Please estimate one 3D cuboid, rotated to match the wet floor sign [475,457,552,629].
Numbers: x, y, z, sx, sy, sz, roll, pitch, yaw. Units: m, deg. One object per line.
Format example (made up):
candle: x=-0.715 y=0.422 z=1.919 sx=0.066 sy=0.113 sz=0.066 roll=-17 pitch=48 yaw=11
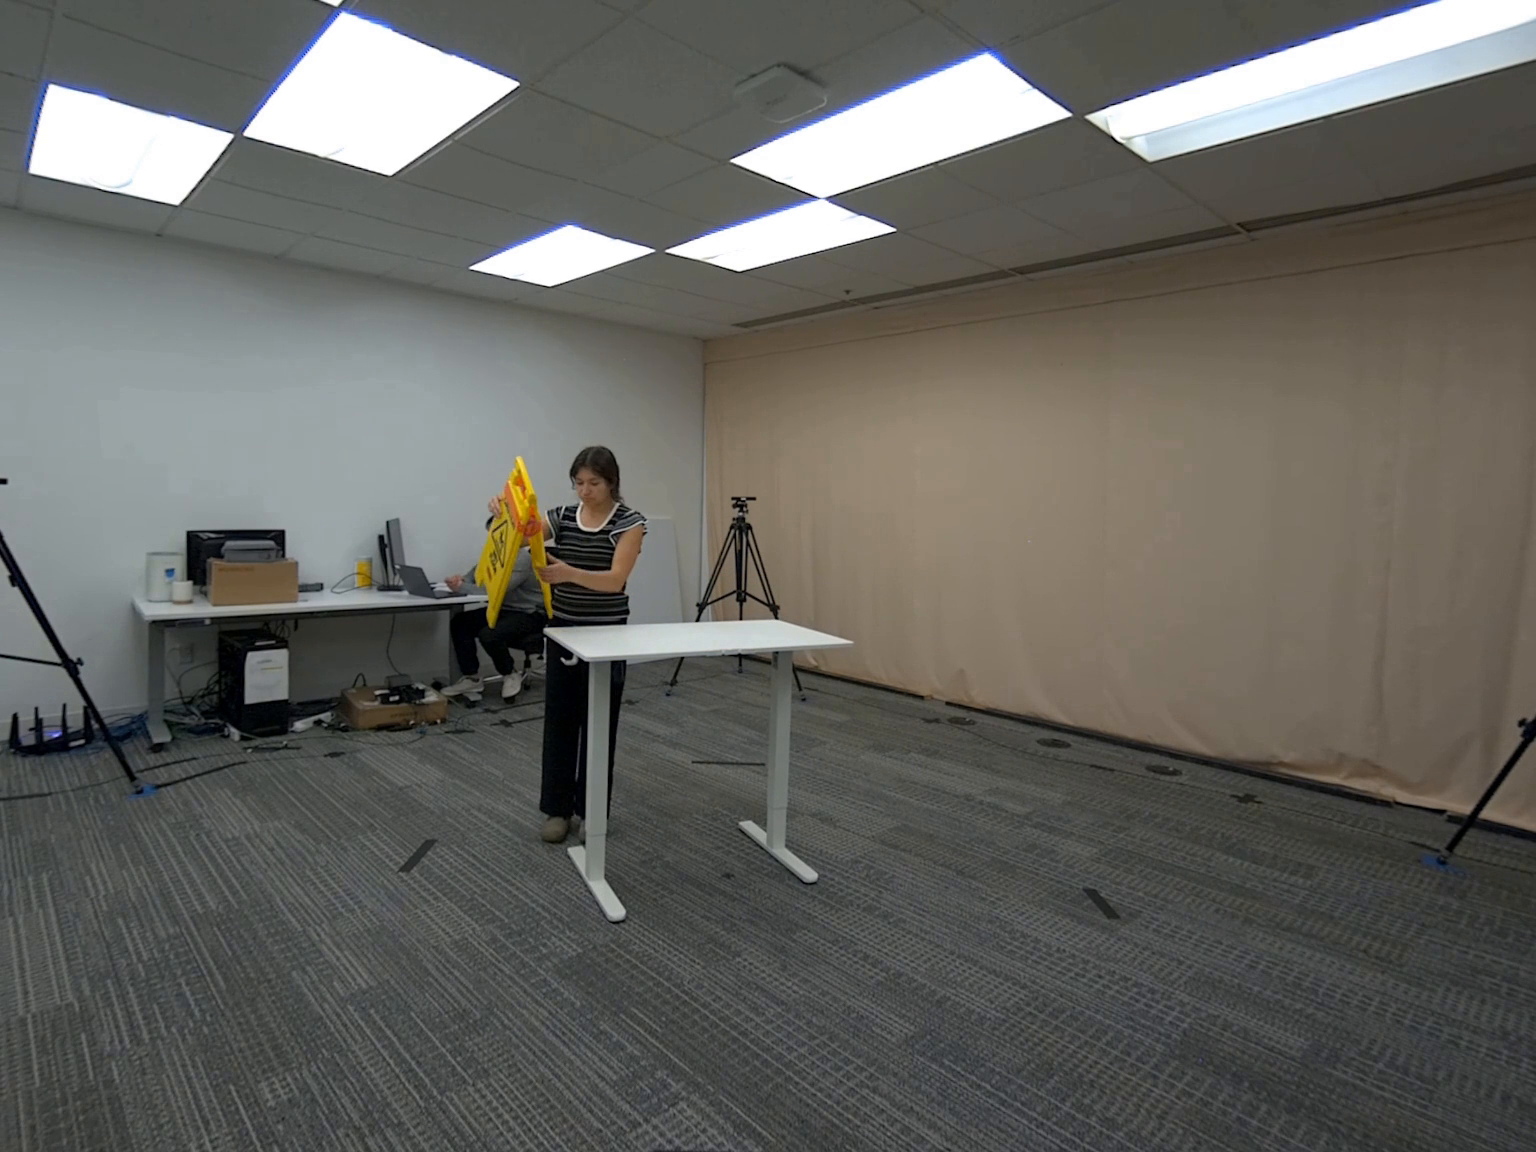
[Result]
wet floor sign: x=-0.917 y=-0.129 z=3.084 sx=0.285 sy=0.638 sz=0.290 roll=-7 pitch=51 yaw=-26
